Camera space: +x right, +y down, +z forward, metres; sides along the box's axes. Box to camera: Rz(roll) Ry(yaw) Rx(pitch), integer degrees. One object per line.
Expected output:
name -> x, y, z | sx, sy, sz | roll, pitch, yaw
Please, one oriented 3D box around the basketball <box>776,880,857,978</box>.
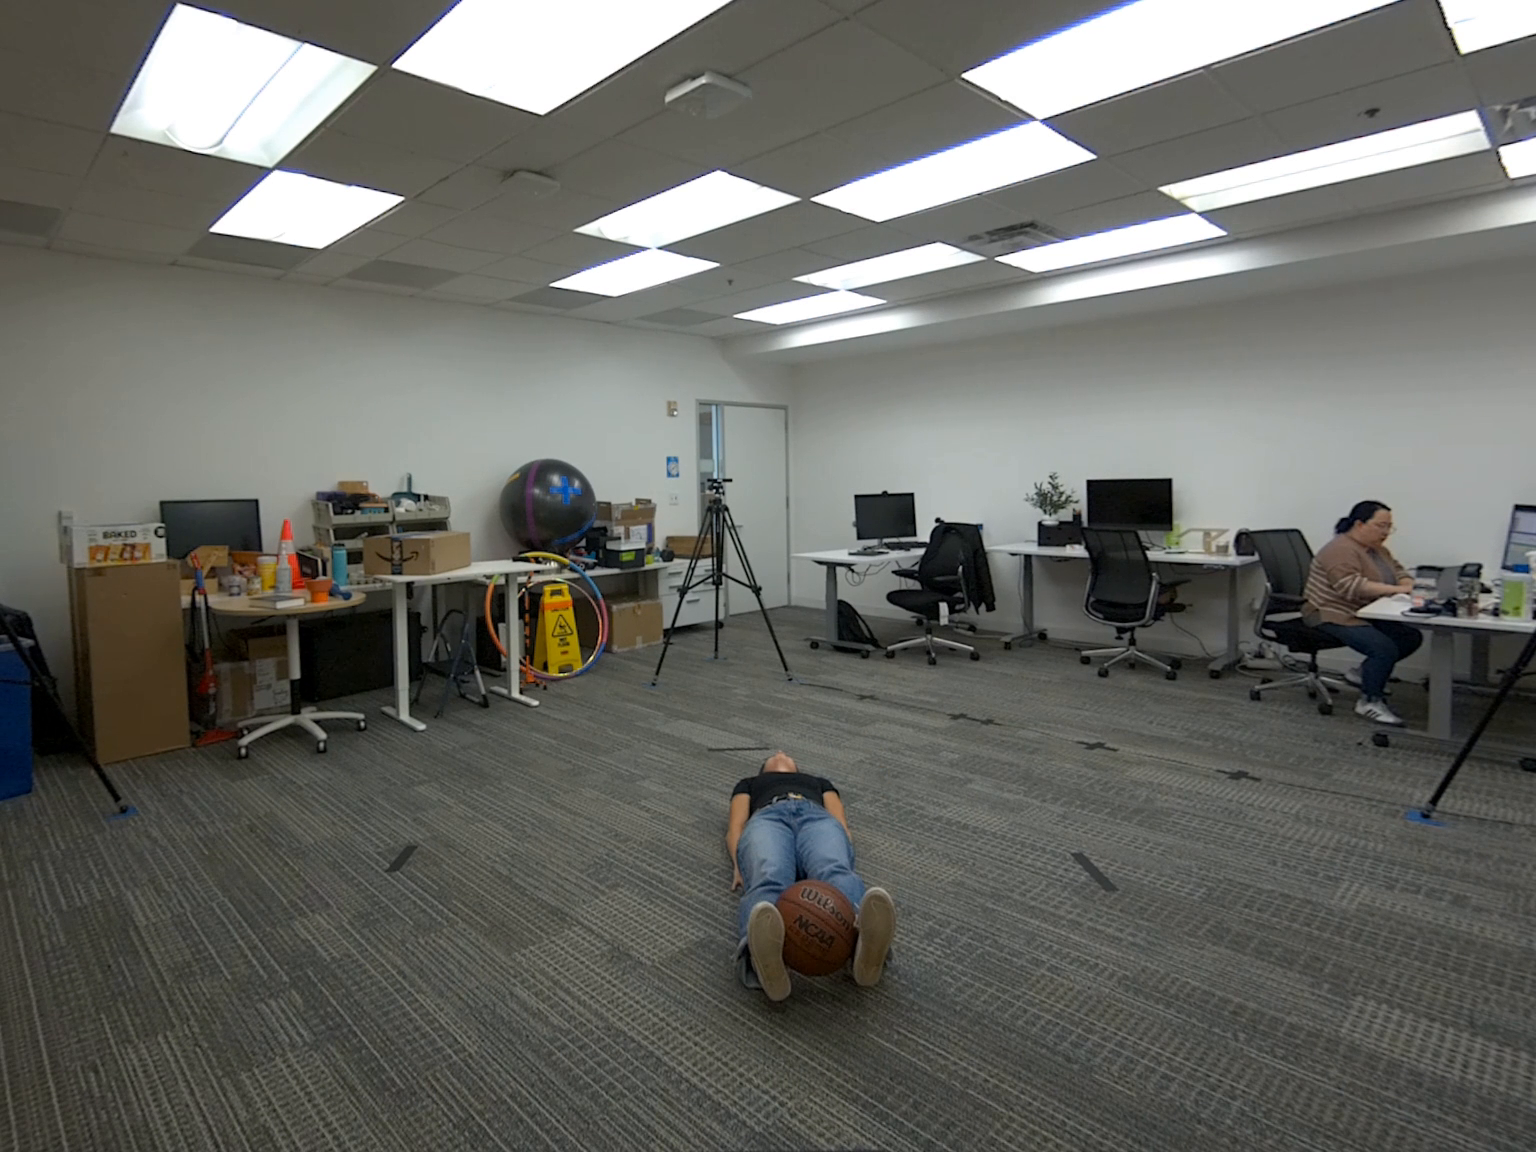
basketball -> 0.134, 0.947, 2.321 | 0.236, 0.235, 0.237 | -1, 5, -2
